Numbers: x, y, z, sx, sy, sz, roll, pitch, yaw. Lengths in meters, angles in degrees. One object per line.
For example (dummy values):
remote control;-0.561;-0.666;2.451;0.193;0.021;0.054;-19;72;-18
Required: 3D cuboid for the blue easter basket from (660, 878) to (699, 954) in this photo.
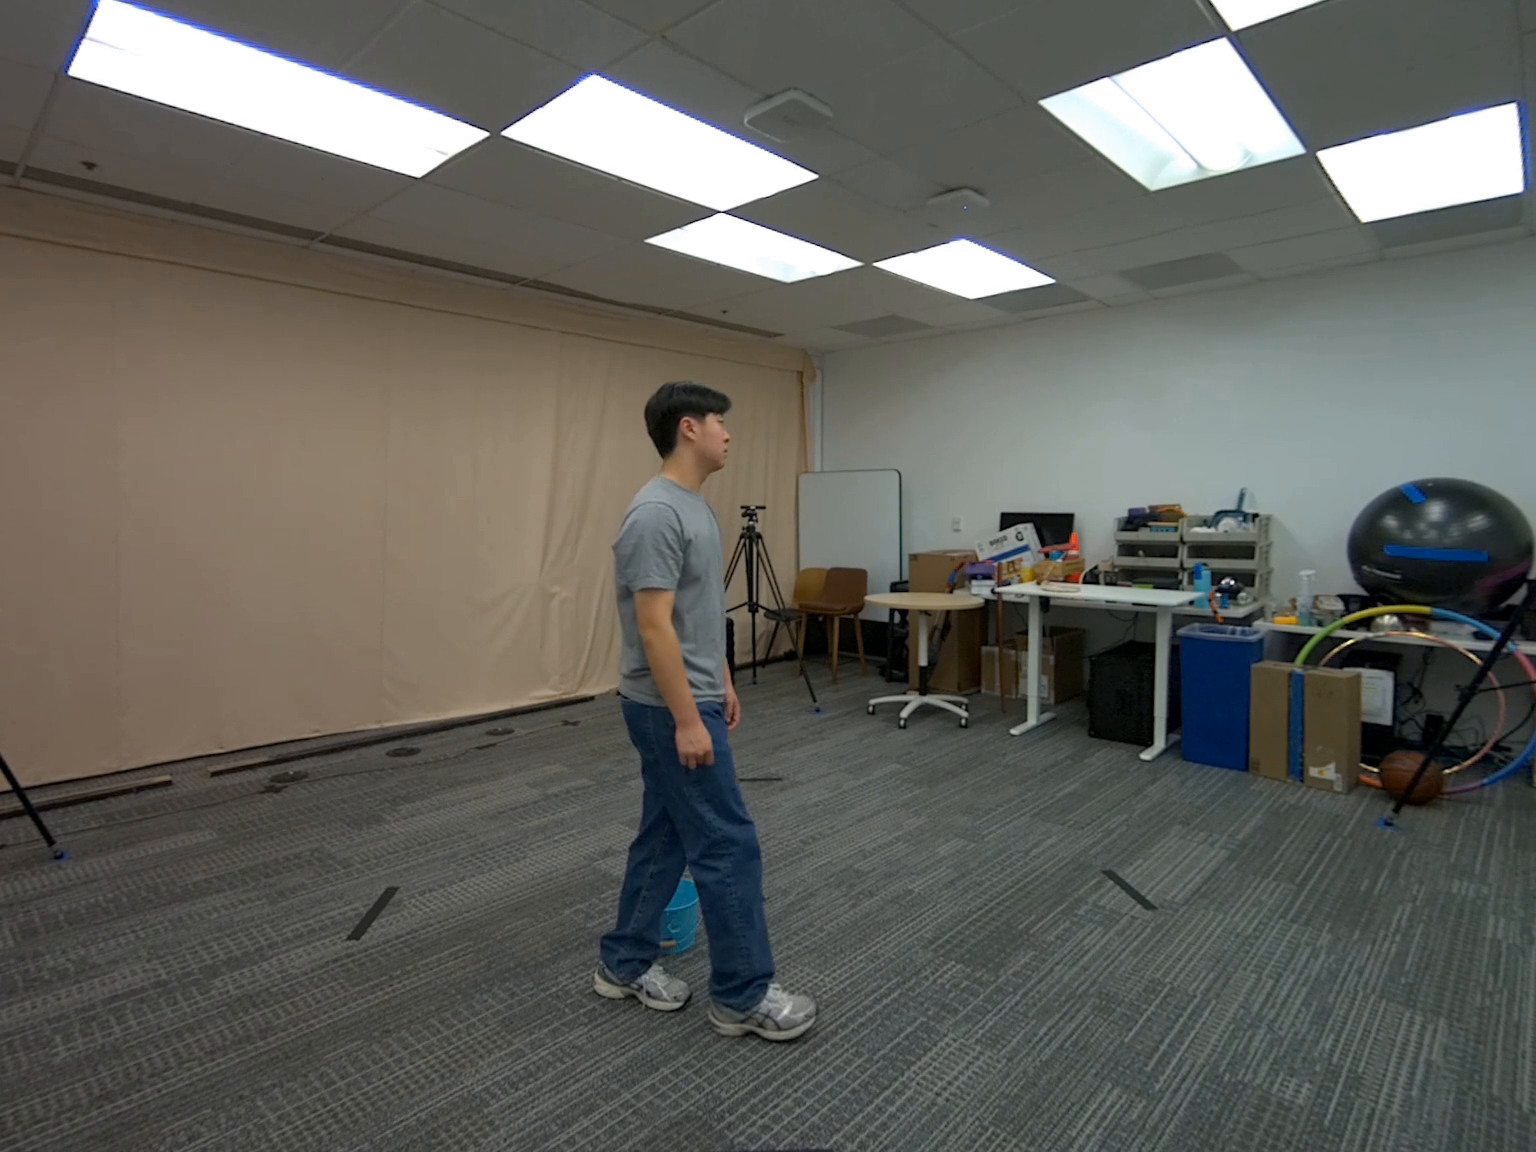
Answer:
blue easter basket;-0.327;1.094;2.697;0.243;0.155;0.244;0;3;-2
